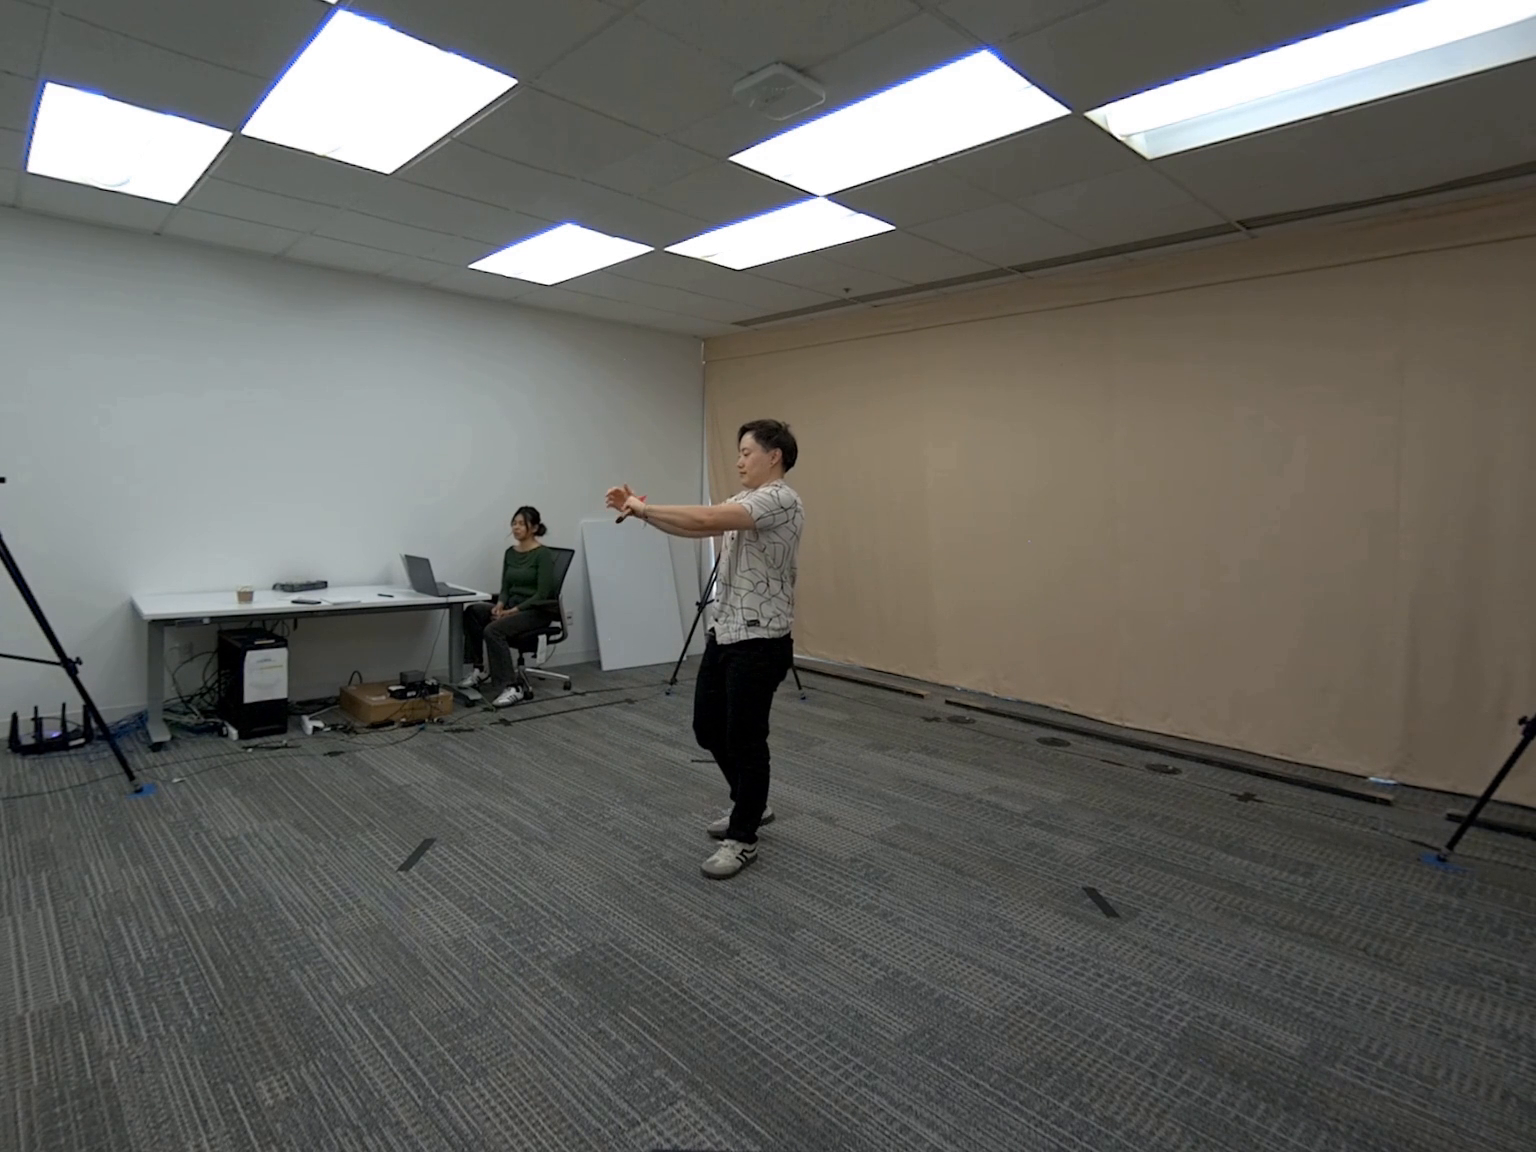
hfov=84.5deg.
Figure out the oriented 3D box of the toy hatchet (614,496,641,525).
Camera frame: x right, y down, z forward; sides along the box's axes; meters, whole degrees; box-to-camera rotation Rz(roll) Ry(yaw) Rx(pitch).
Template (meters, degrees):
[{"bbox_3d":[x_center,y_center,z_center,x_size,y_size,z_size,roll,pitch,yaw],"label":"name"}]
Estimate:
[{"bbox_3d":[-0.524,-0.215,3.019,0.132,0.029,0.271,-34,10,22],"label":"toy hatchet"}]
